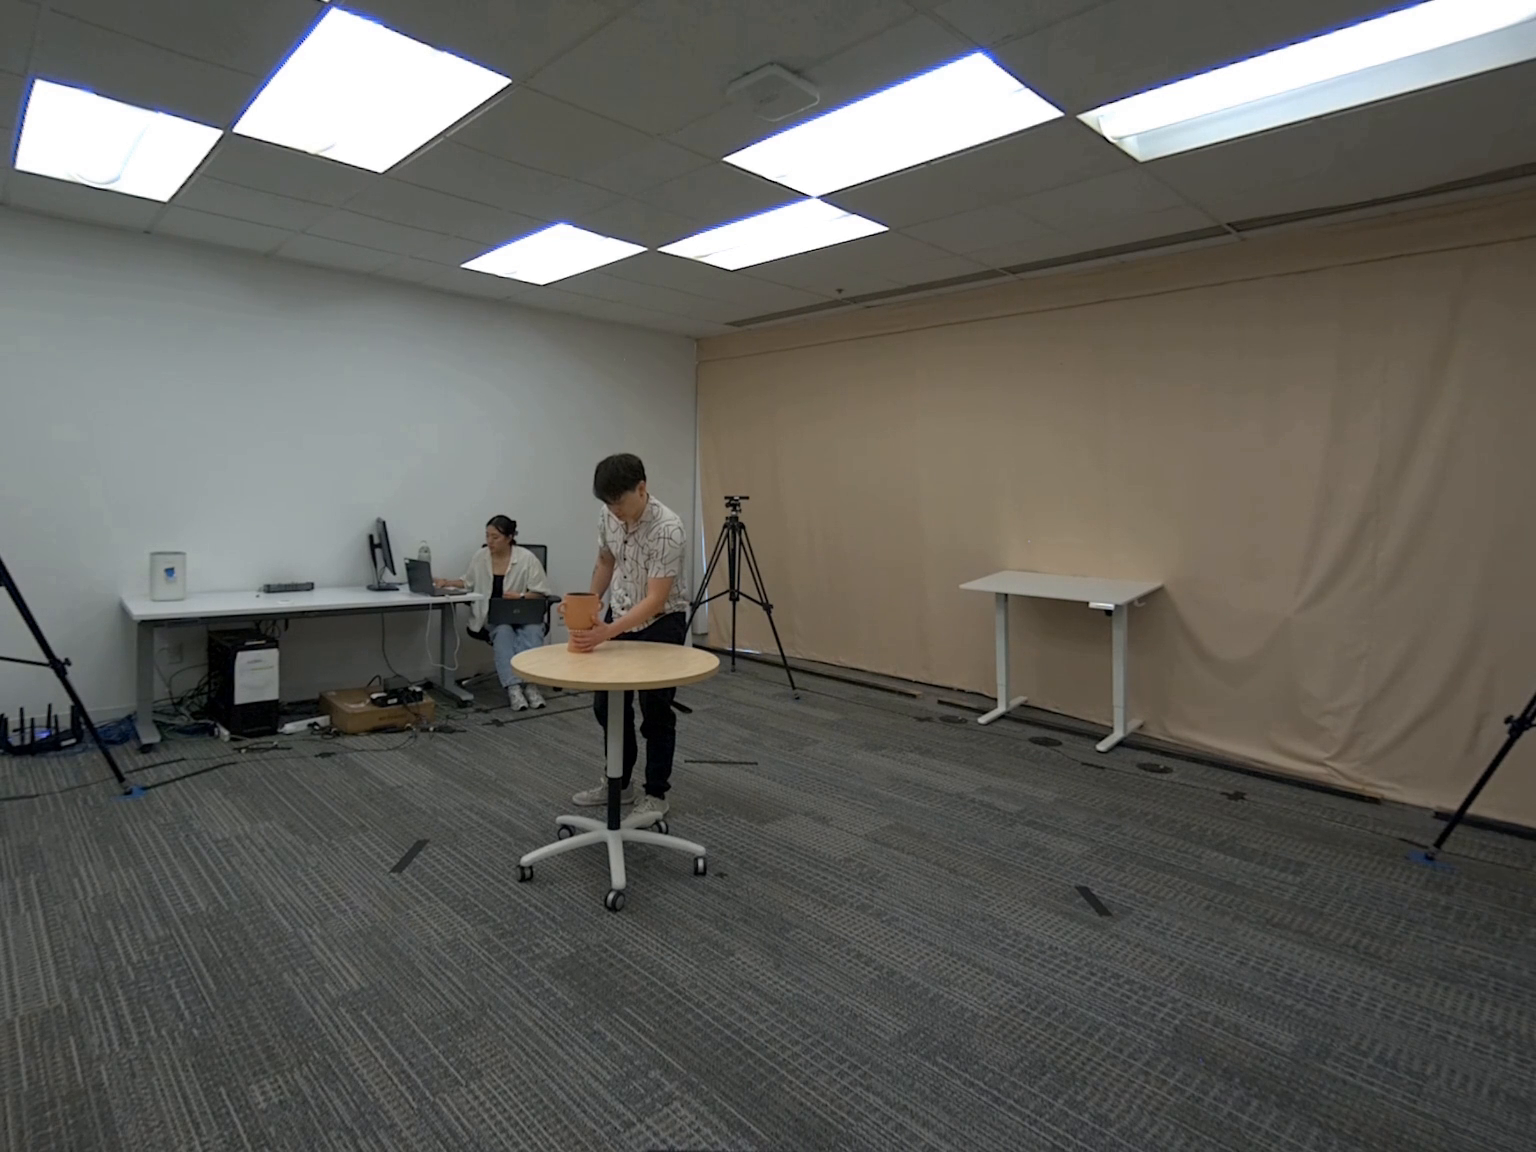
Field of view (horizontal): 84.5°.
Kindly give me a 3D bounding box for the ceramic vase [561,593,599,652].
[{"bbox_3d":[-0.753,0.183,3.275,0.159,0.219,0.135,1,4,3],"label":"ceramic vase"}]
